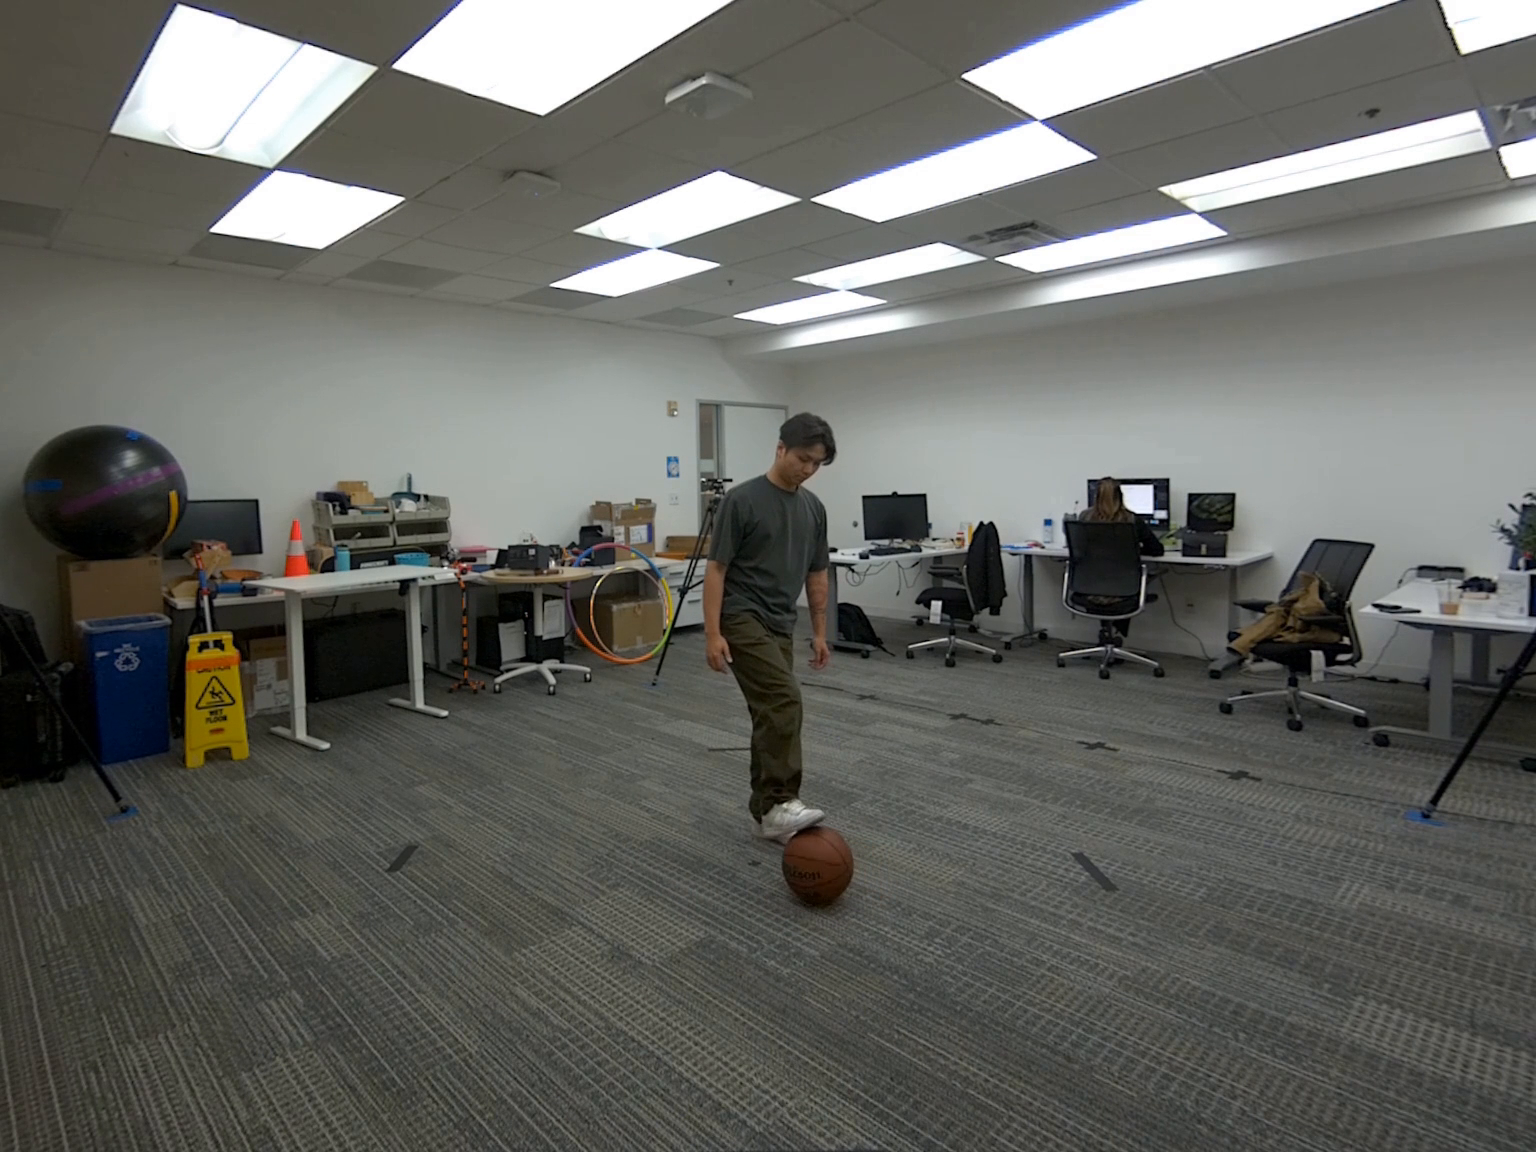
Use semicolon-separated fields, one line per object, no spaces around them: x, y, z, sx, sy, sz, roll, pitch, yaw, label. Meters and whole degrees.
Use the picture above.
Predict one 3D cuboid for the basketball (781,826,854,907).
0.175;0.958;2.829;0.236;0.235;0.237;-1;5;-2;basketball
